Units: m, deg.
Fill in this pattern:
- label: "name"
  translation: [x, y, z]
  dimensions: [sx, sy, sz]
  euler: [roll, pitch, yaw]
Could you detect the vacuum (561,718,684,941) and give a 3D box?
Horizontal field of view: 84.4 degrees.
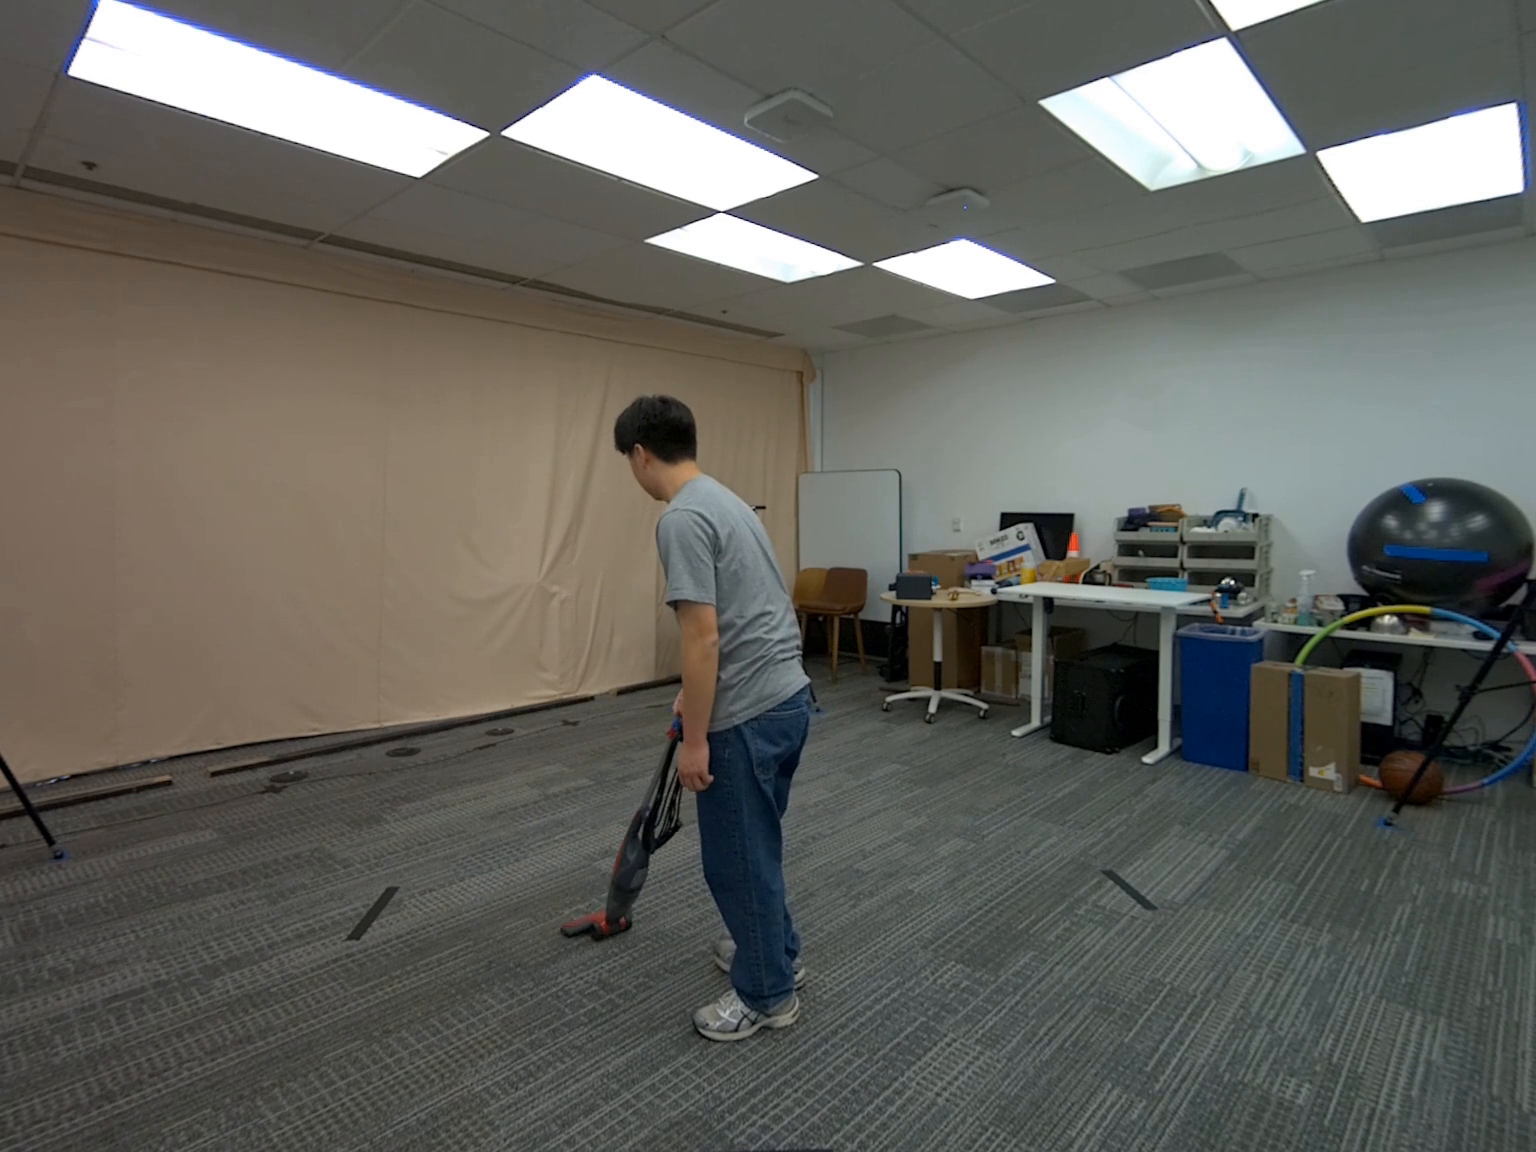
- label: "vacuum"
  translation: [-0.377, 0.748, 2.556]
  dimensions: [0.245, 1.045, 0.149]
  euler: [-11, 43, -47]
